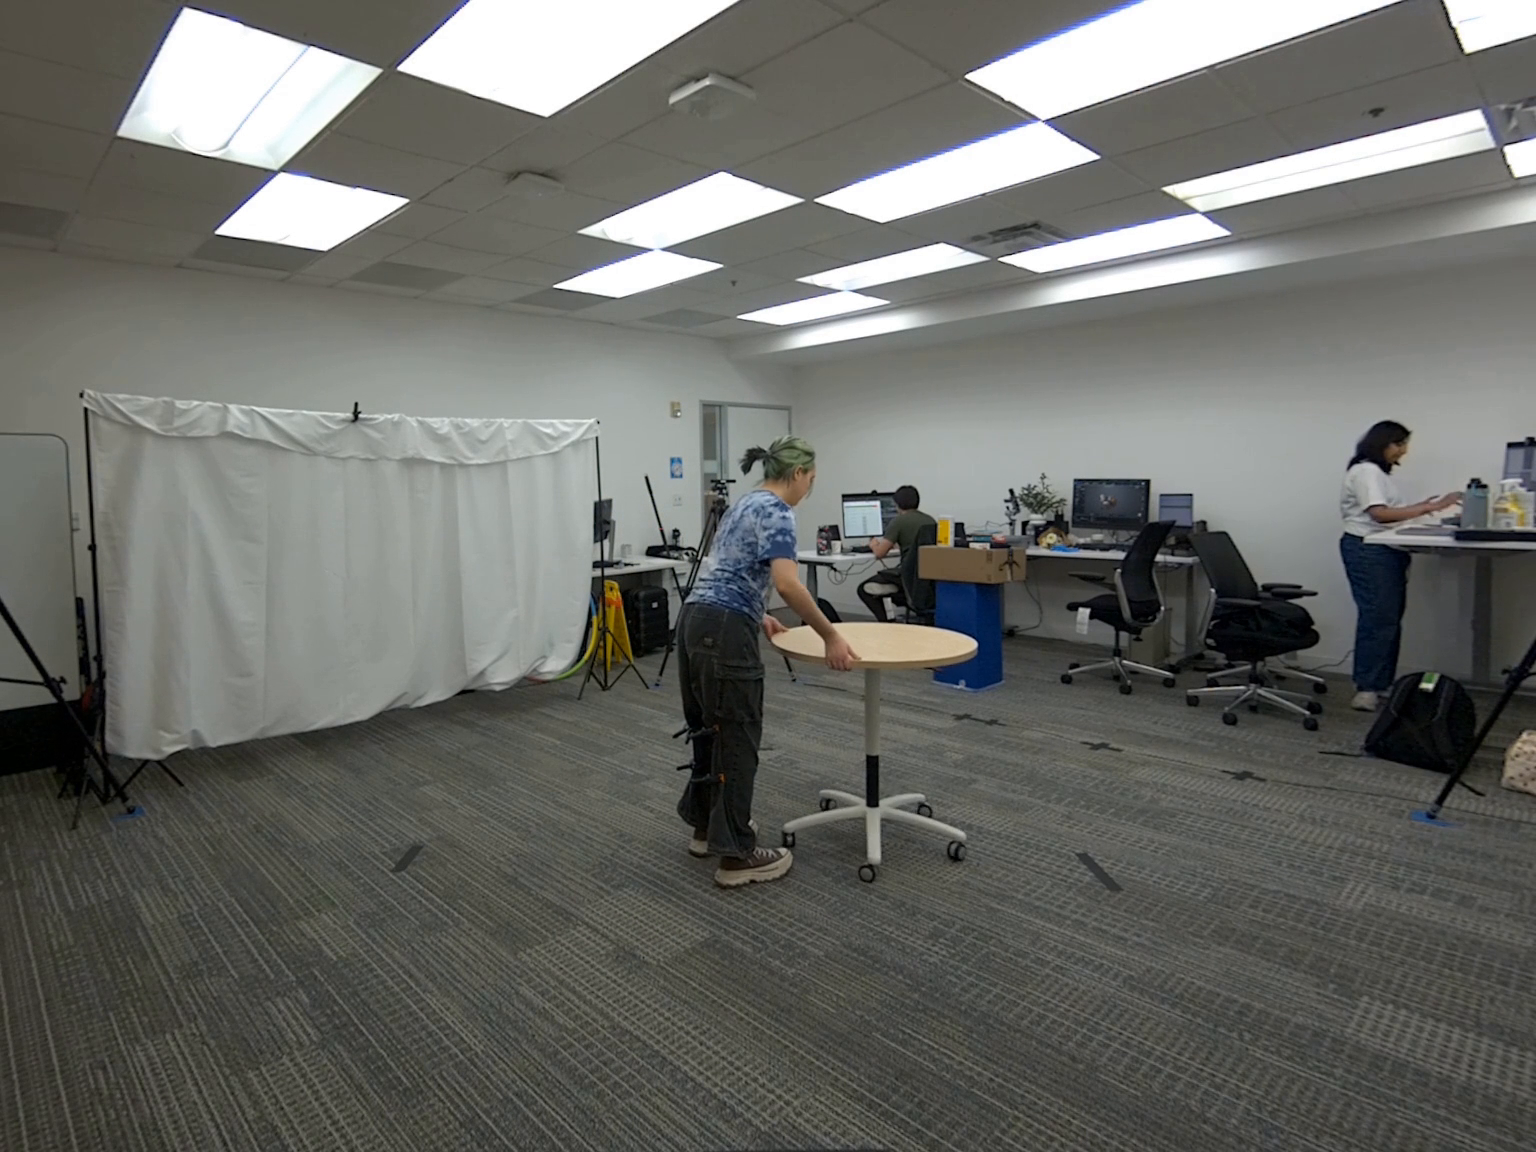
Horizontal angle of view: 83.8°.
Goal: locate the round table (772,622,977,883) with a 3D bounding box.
[{"bbox_3d":[0.404,0.634,3.267,0.763,0.791,0.768,-1,5,-2],"label":"round table"}]
